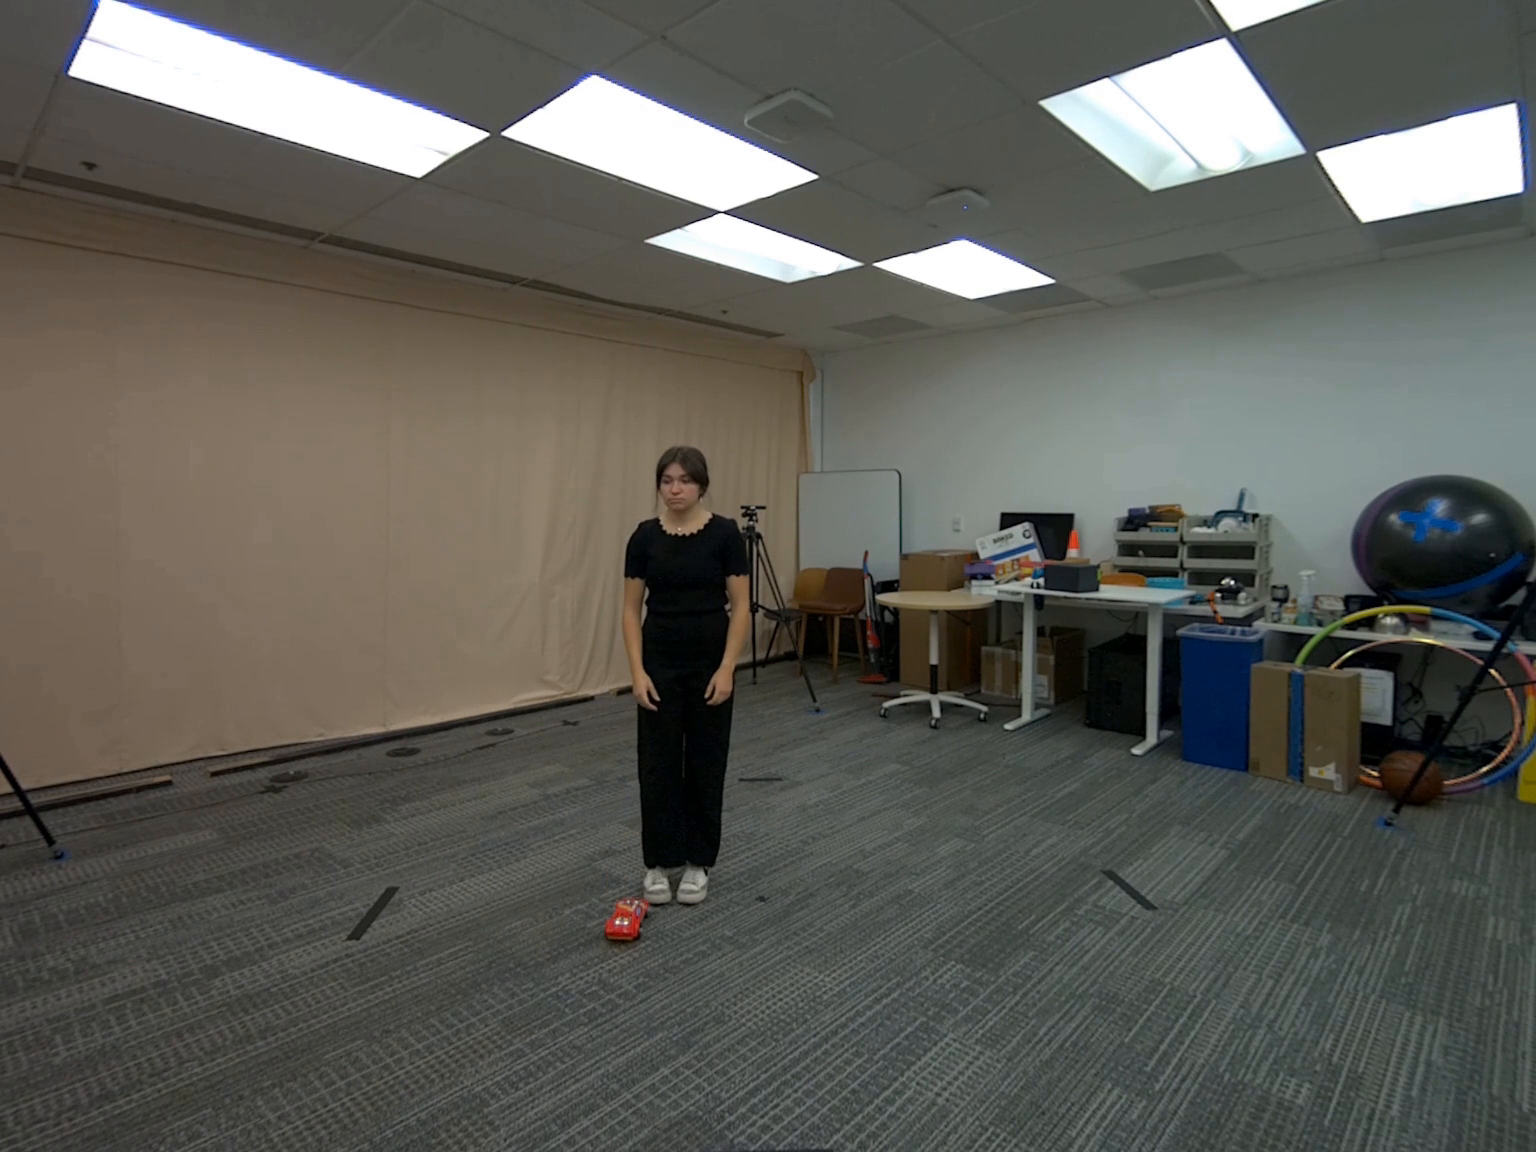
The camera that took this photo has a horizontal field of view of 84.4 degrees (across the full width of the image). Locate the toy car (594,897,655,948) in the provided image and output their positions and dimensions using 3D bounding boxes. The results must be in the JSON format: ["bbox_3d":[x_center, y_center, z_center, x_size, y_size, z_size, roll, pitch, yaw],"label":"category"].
[{"bbox_3d":[-0.465,1.126,2.767,0.131,0.083,0.251,1,-8,6],"label":"toy car"}]
